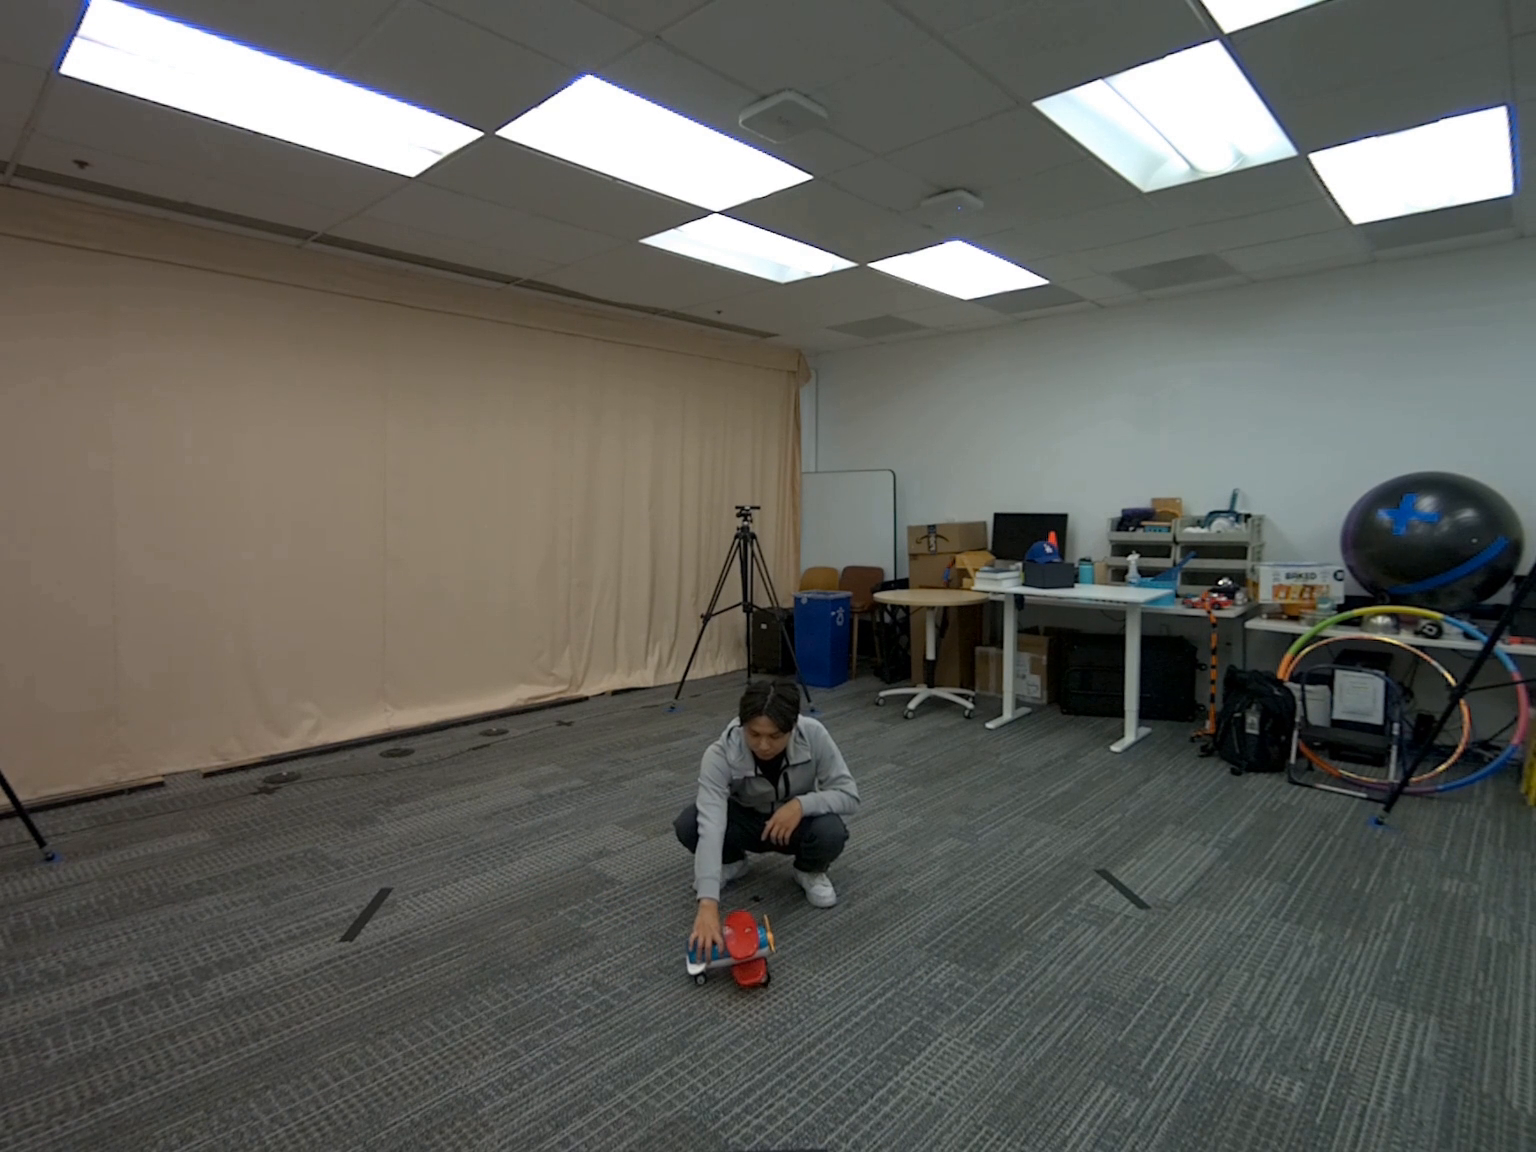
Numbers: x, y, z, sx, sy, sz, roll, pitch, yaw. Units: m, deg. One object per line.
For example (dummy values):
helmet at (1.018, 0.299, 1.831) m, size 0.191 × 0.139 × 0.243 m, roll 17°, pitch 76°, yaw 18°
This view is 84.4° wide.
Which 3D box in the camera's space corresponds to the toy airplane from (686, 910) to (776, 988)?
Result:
toy airplane at (-0.105, 1.111, 2.459) m, size 0.252 × 0.156 × 0.259 m, roll -3°, pitch 6°, yaw -33°
